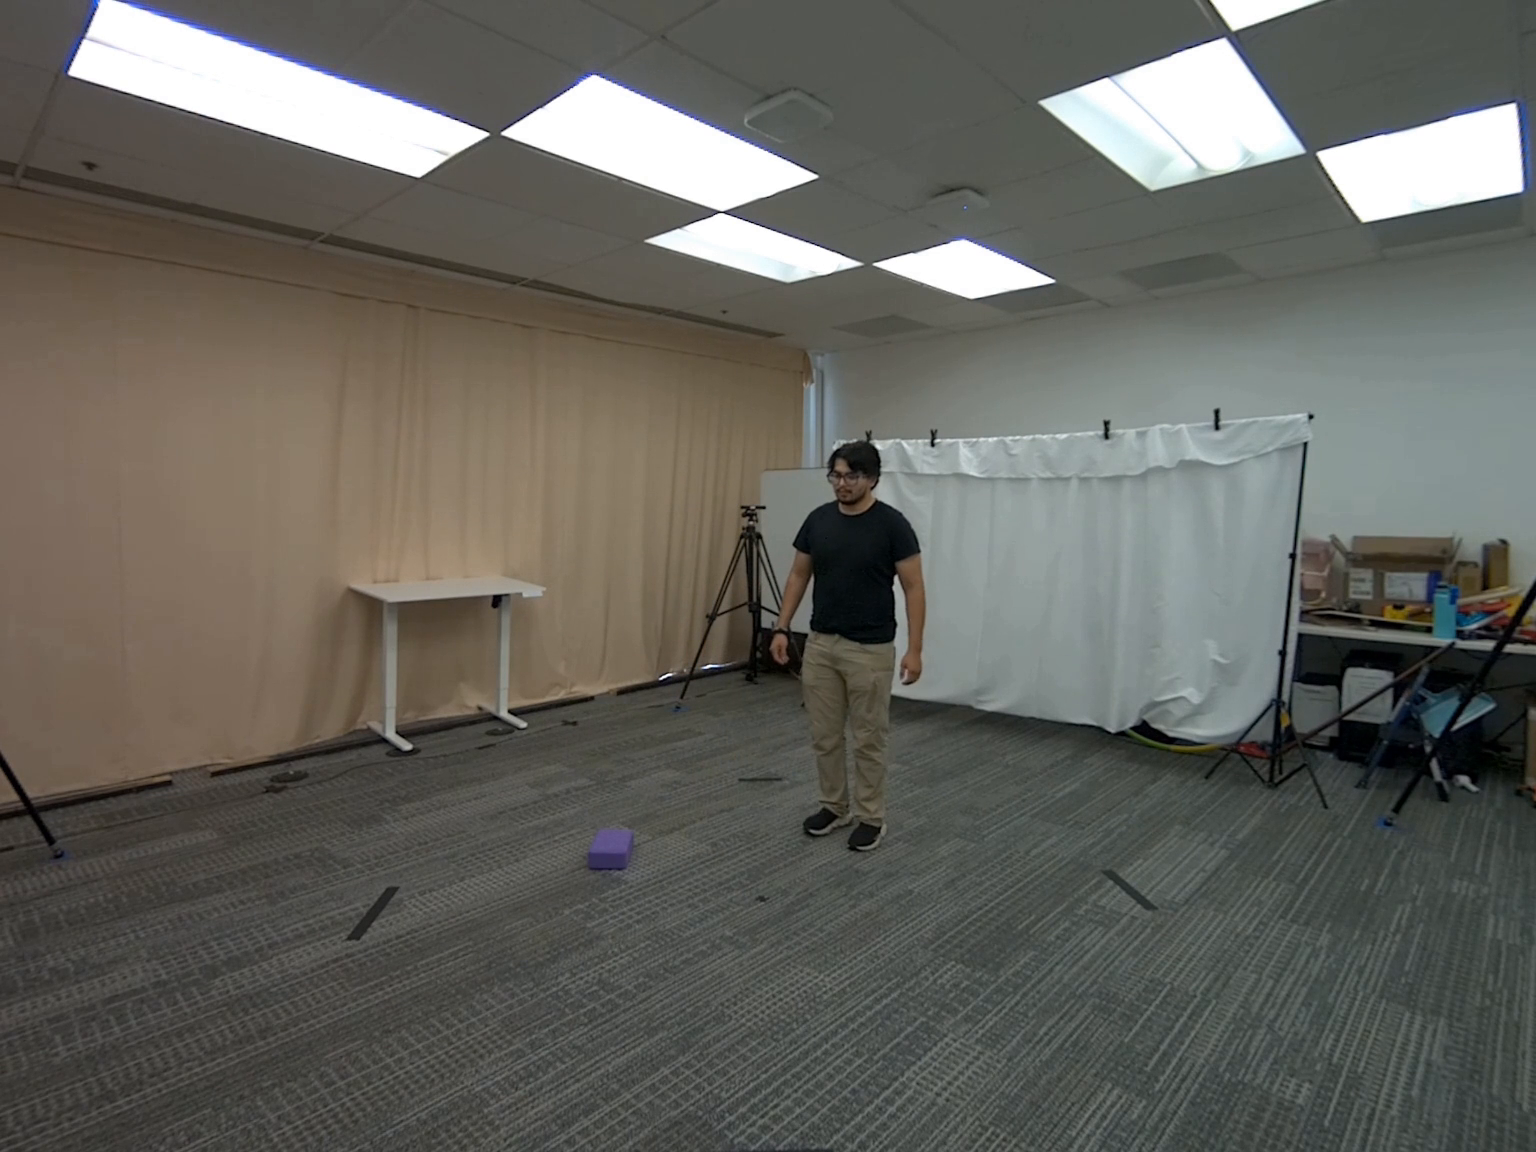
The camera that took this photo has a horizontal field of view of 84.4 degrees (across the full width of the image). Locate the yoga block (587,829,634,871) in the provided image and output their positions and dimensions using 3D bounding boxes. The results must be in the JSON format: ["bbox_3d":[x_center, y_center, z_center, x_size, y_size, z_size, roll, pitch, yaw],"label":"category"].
[{"bbox_3d":[-0.621,1.079,3.334,0.149,0.076,0.230,4,5,-1],"label":"yoga block"}]
